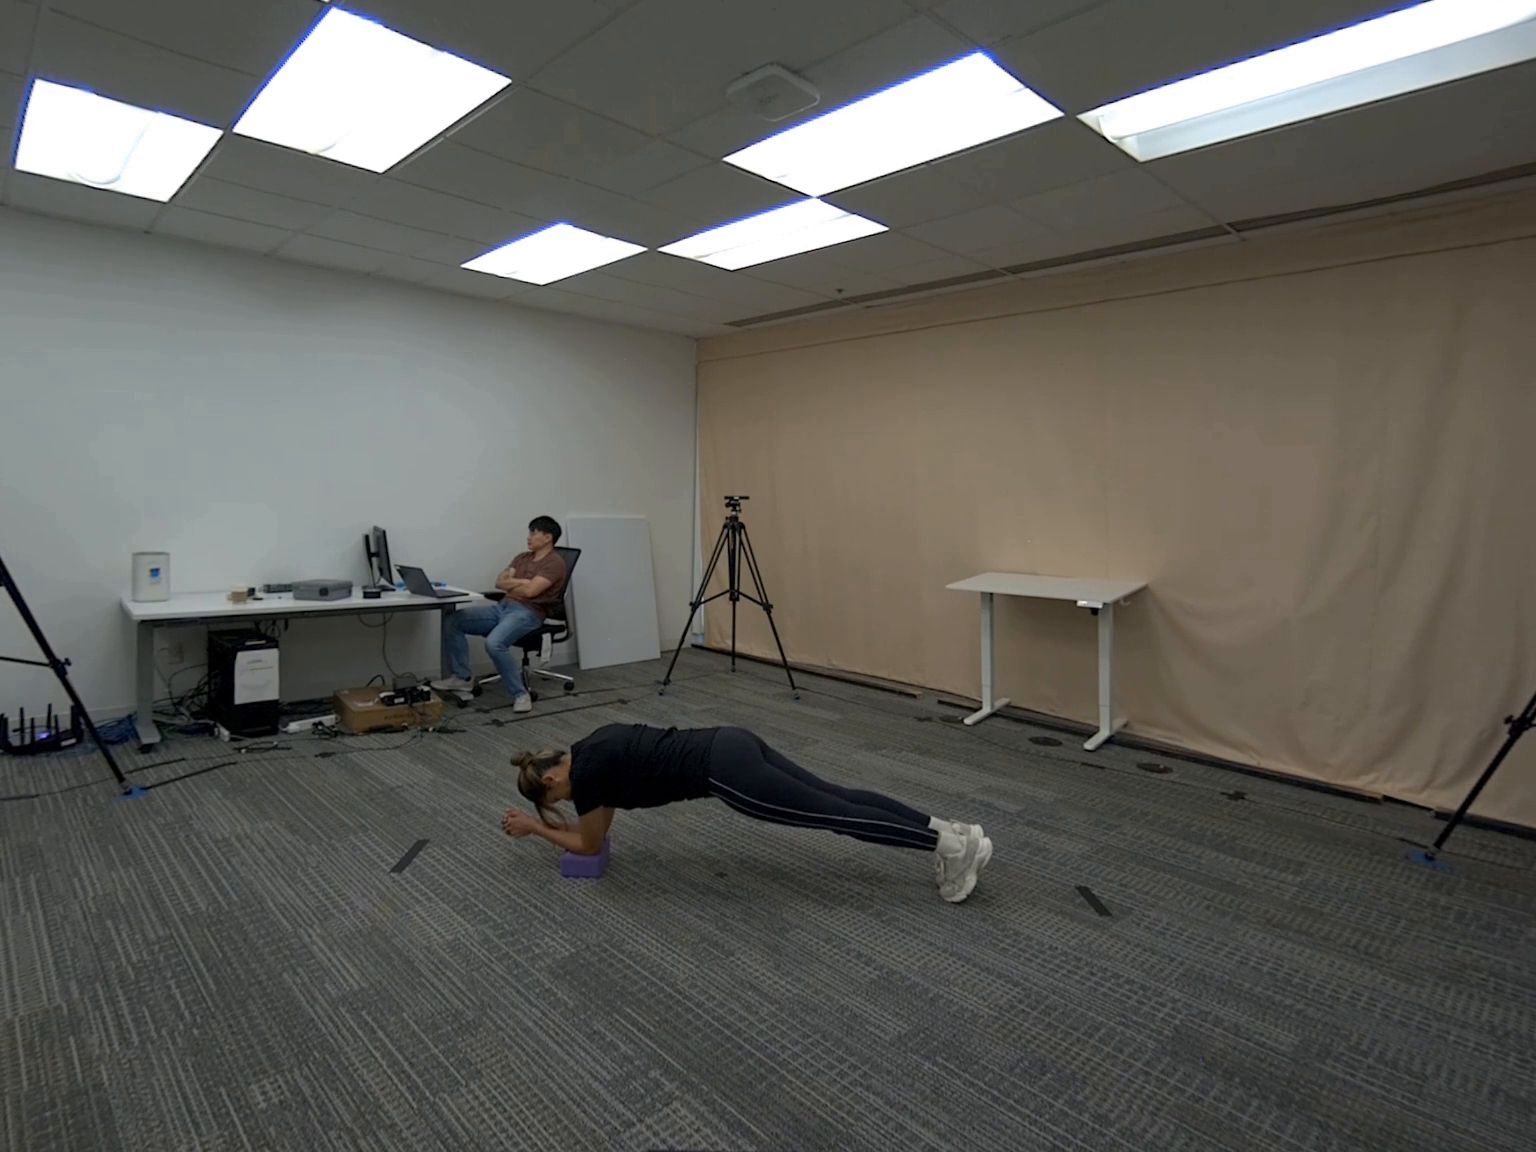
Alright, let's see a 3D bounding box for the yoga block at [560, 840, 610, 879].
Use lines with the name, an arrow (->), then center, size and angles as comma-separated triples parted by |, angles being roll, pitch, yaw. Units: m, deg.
yoga block -> -0.685, 1.039, 3.159 | 0.149, 0.076, 0.230 | -1, 5, 0
